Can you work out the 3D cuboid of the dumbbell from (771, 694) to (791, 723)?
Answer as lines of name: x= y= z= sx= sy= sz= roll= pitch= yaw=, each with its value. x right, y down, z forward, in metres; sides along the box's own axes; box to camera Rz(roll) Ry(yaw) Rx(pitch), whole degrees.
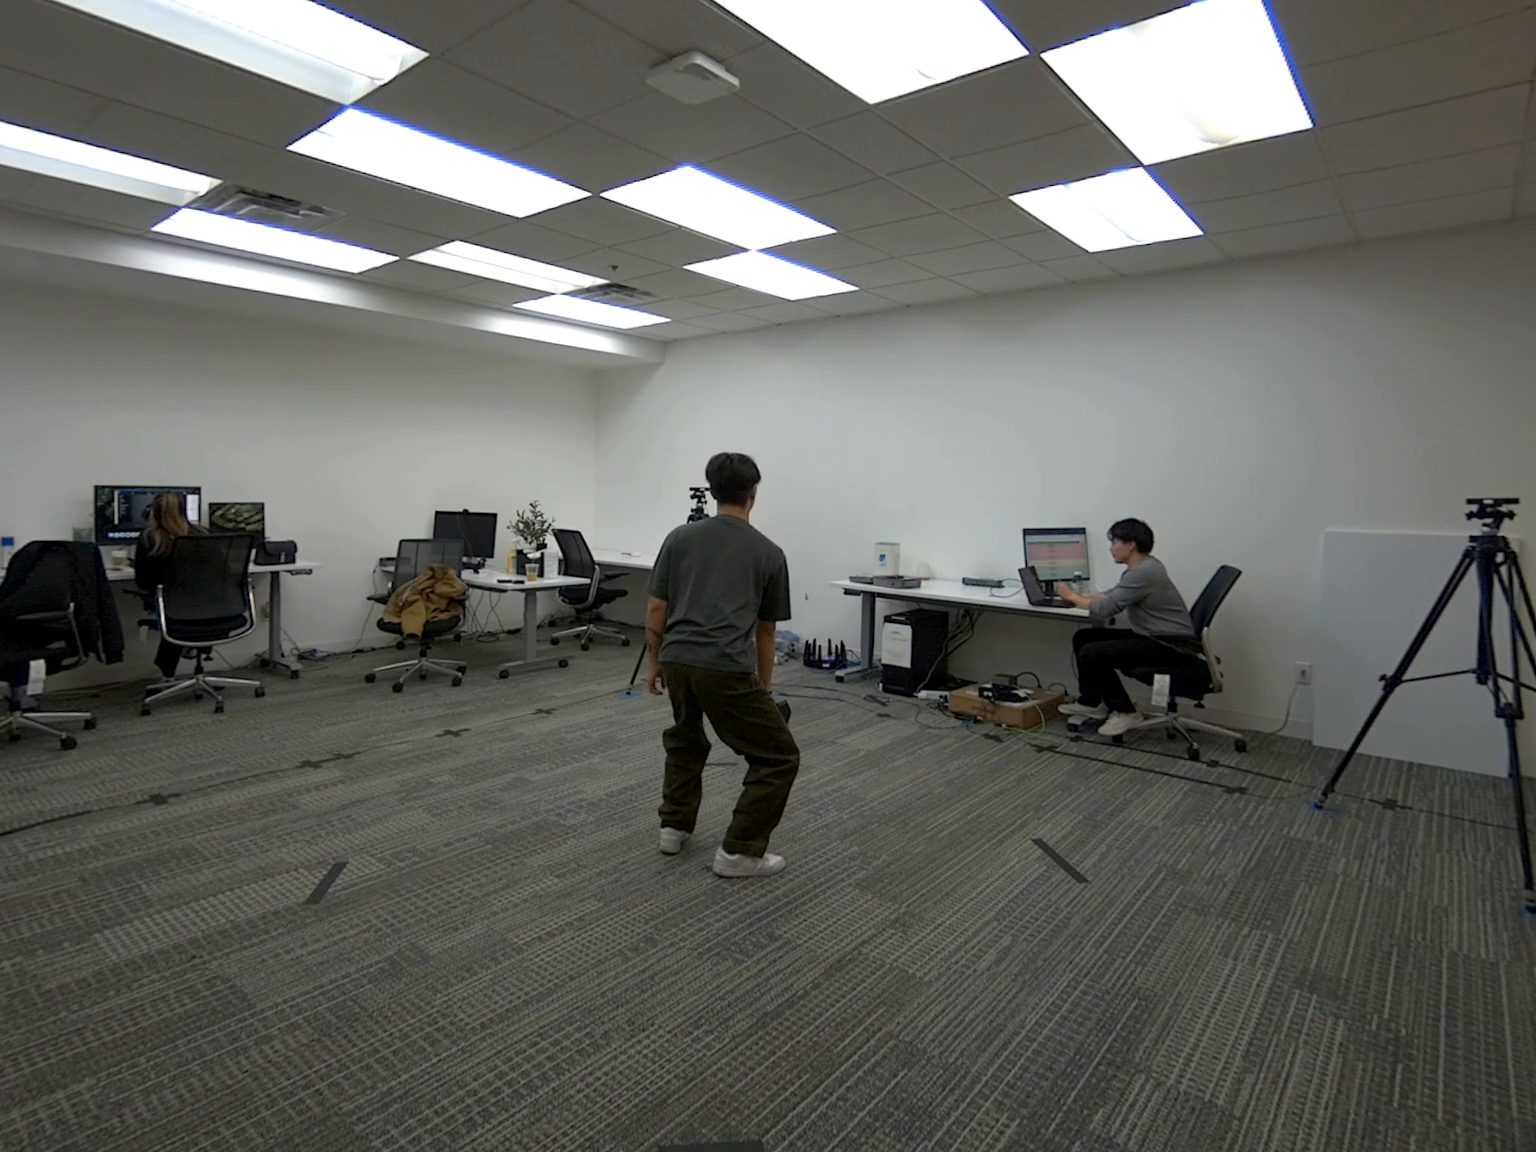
dumbbell: x=-0.070 y=0.519 z=3.317 sx=0.303 sy=0.124 sz=0.104 roll=7 pitch=-21 yaw=38
